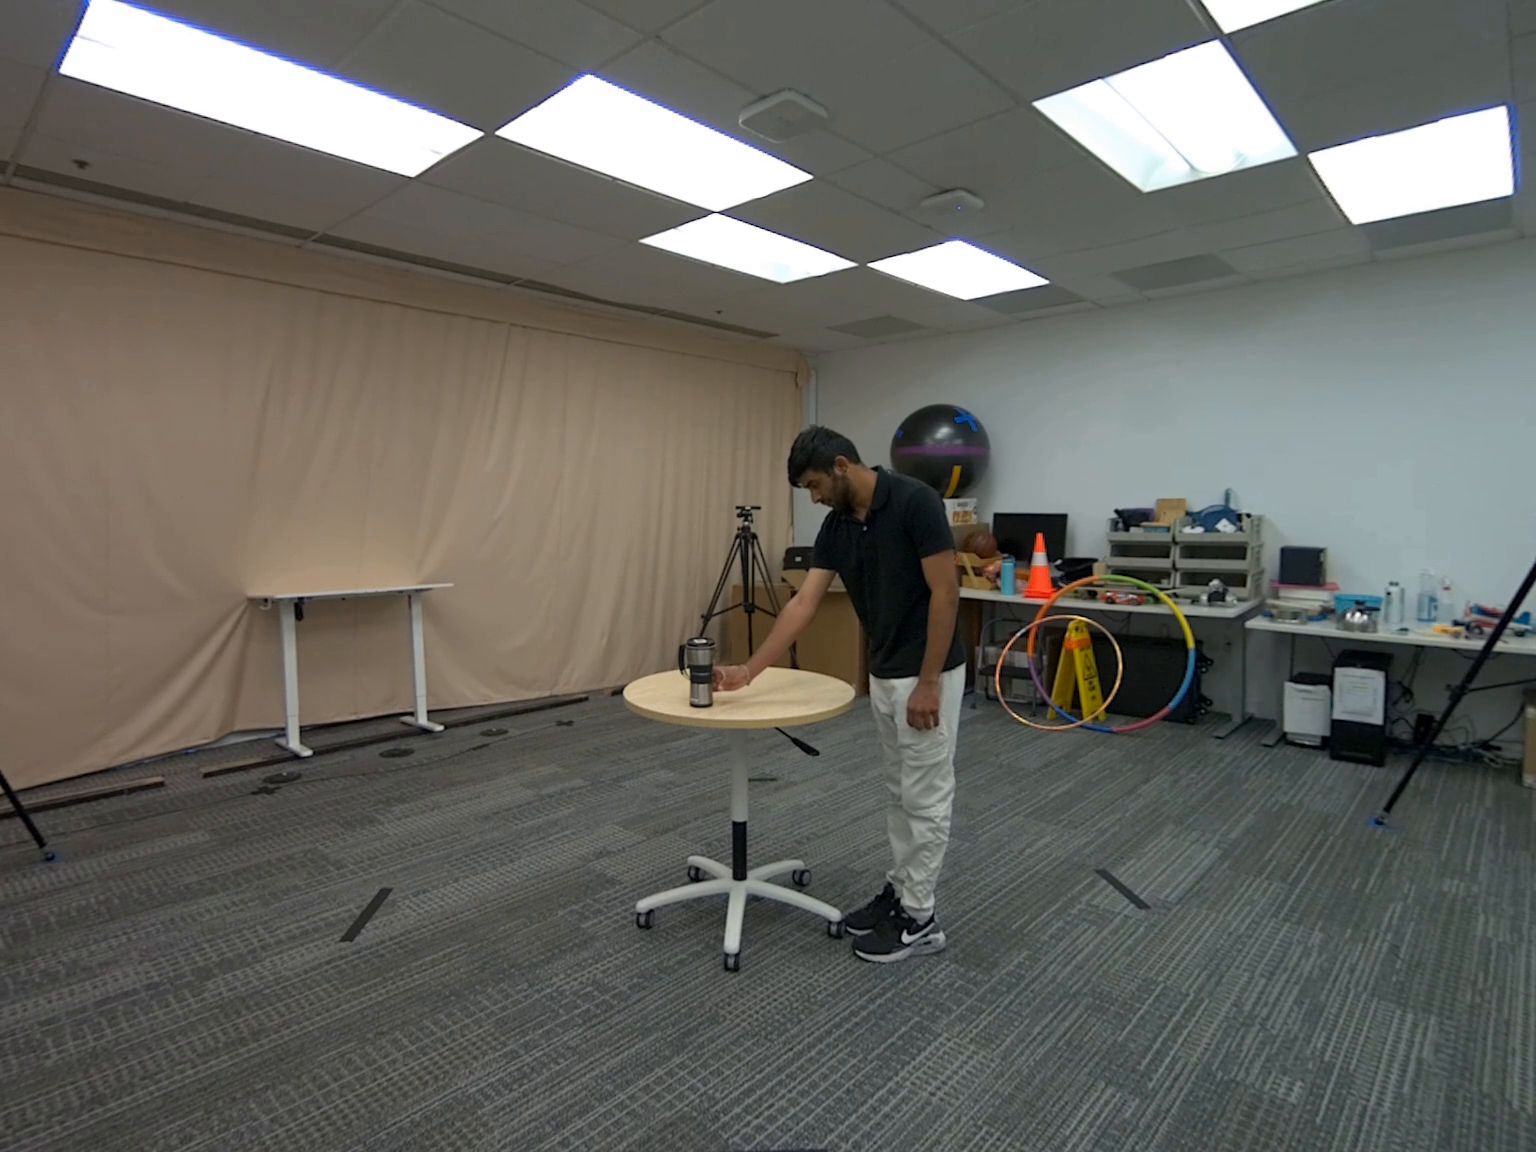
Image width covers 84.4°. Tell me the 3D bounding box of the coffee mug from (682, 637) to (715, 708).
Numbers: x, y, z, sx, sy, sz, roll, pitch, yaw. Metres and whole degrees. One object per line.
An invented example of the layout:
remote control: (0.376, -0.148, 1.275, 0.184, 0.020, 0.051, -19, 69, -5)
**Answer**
coffee mug: (-0.211, 0.298, 2.598, 0.085, 0.202, 0.126, -4, 9, -30)
